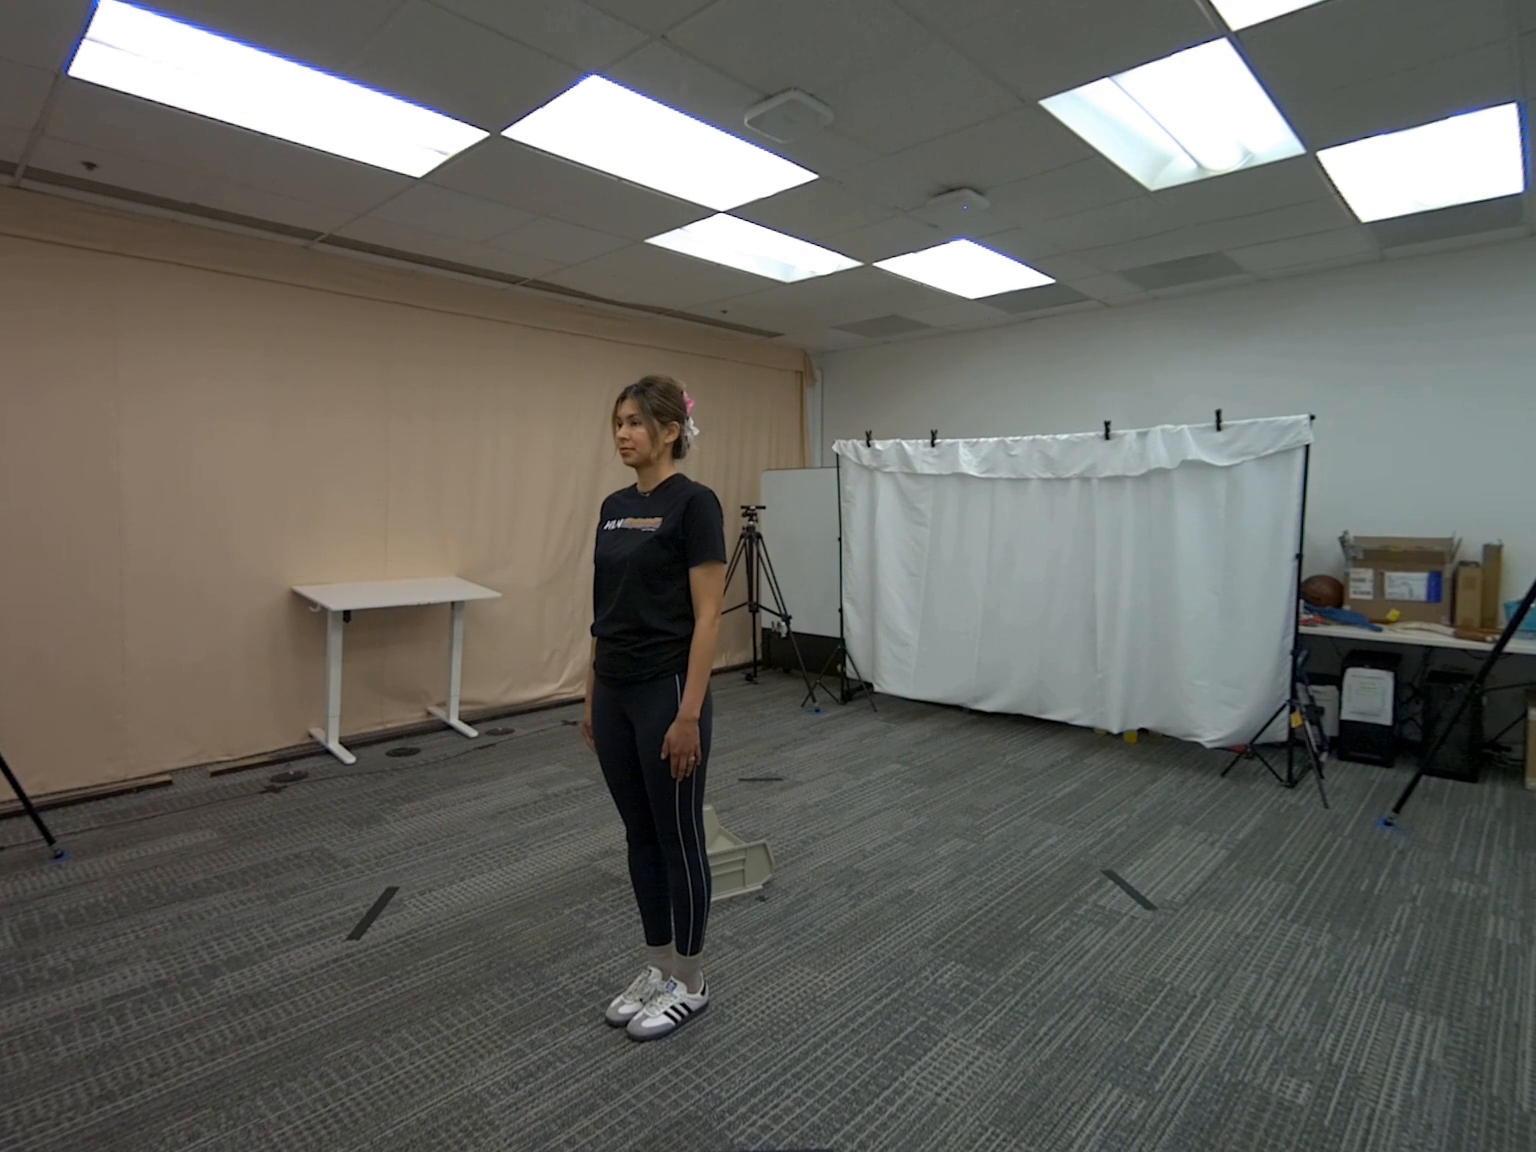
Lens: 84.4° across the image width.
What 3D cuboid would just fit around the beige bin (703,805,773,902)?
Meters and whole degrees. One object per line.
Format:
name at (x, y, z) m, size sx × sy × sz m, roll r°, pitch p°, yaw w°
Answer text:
beige bin at (-0.248, 1.040, 3.169) m, size 0.367 × 0.188 × 0.435 m, roll -4°, pitch 6°, yaw -31°
